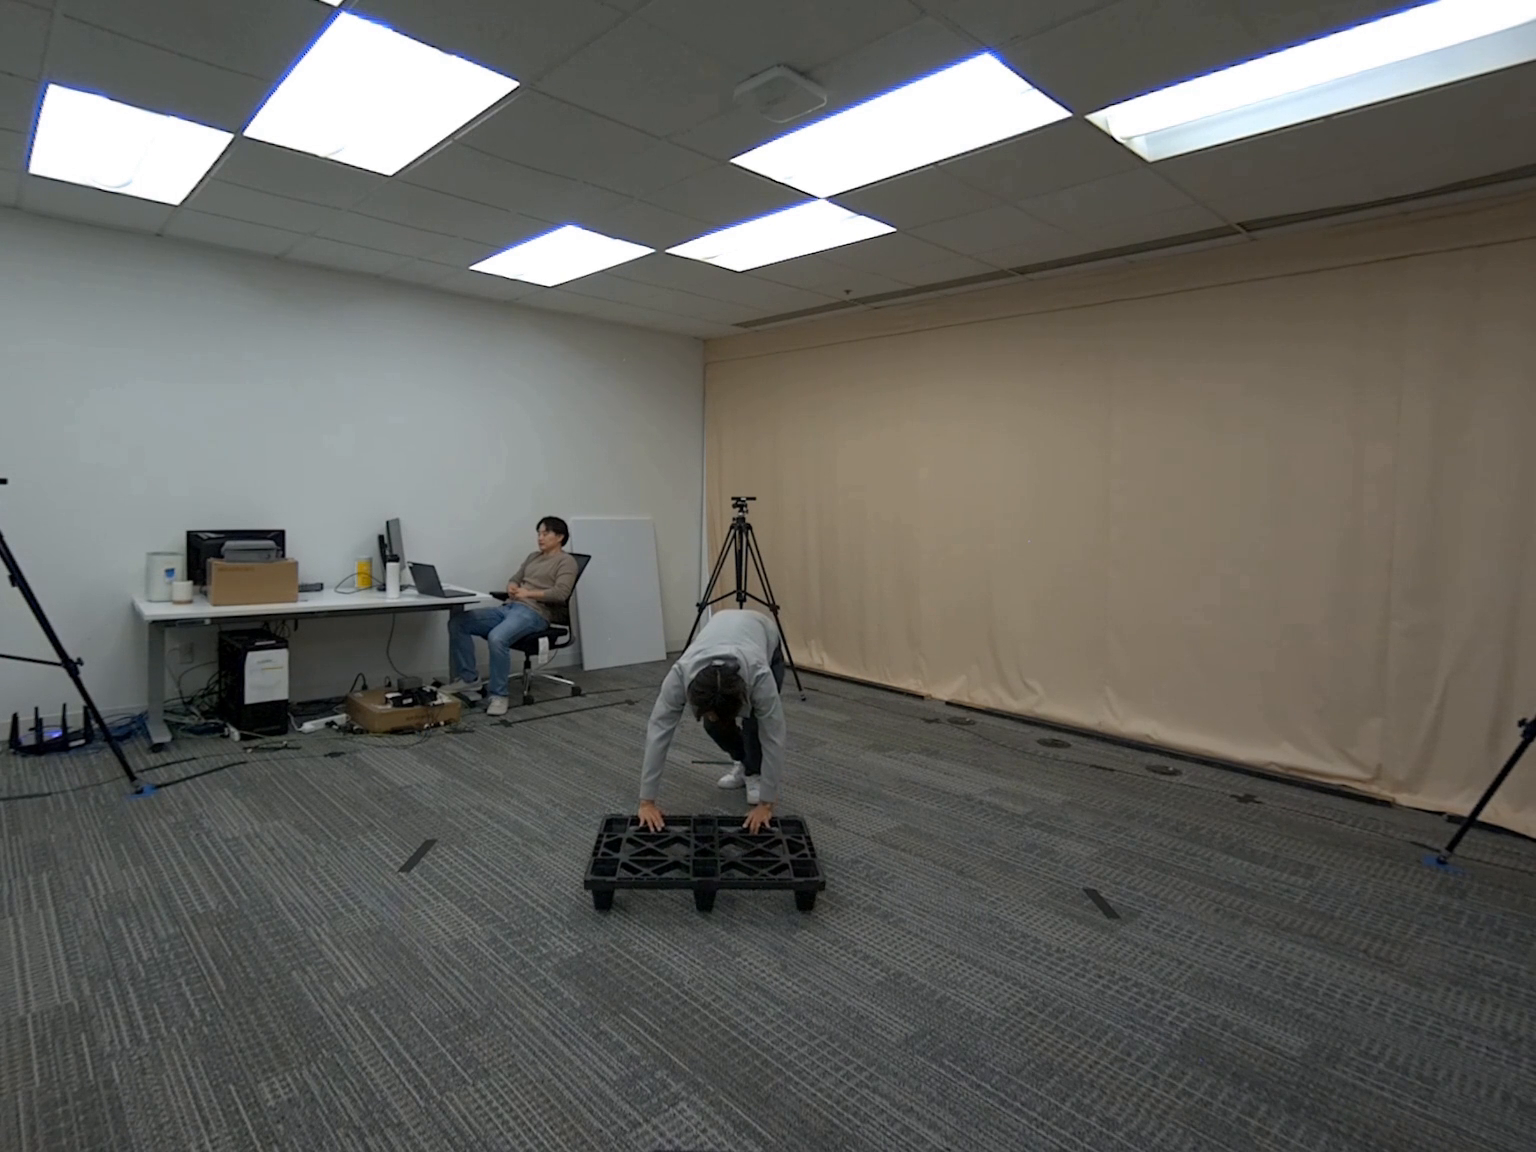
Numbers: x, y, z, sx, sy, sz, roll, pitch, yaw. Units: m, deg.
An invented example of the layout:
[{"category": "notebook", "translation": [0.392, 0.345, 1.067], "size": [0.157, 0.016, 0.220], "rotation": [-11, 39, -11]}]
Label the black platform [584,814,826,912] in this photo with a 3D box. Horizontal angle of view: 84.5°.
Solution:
[{"category": "black platform", "translation": [-0.237, 1.038, 3.051], "size": [0.804, 0.143, 0.608], "rotation": [1, 5, -3]}]
